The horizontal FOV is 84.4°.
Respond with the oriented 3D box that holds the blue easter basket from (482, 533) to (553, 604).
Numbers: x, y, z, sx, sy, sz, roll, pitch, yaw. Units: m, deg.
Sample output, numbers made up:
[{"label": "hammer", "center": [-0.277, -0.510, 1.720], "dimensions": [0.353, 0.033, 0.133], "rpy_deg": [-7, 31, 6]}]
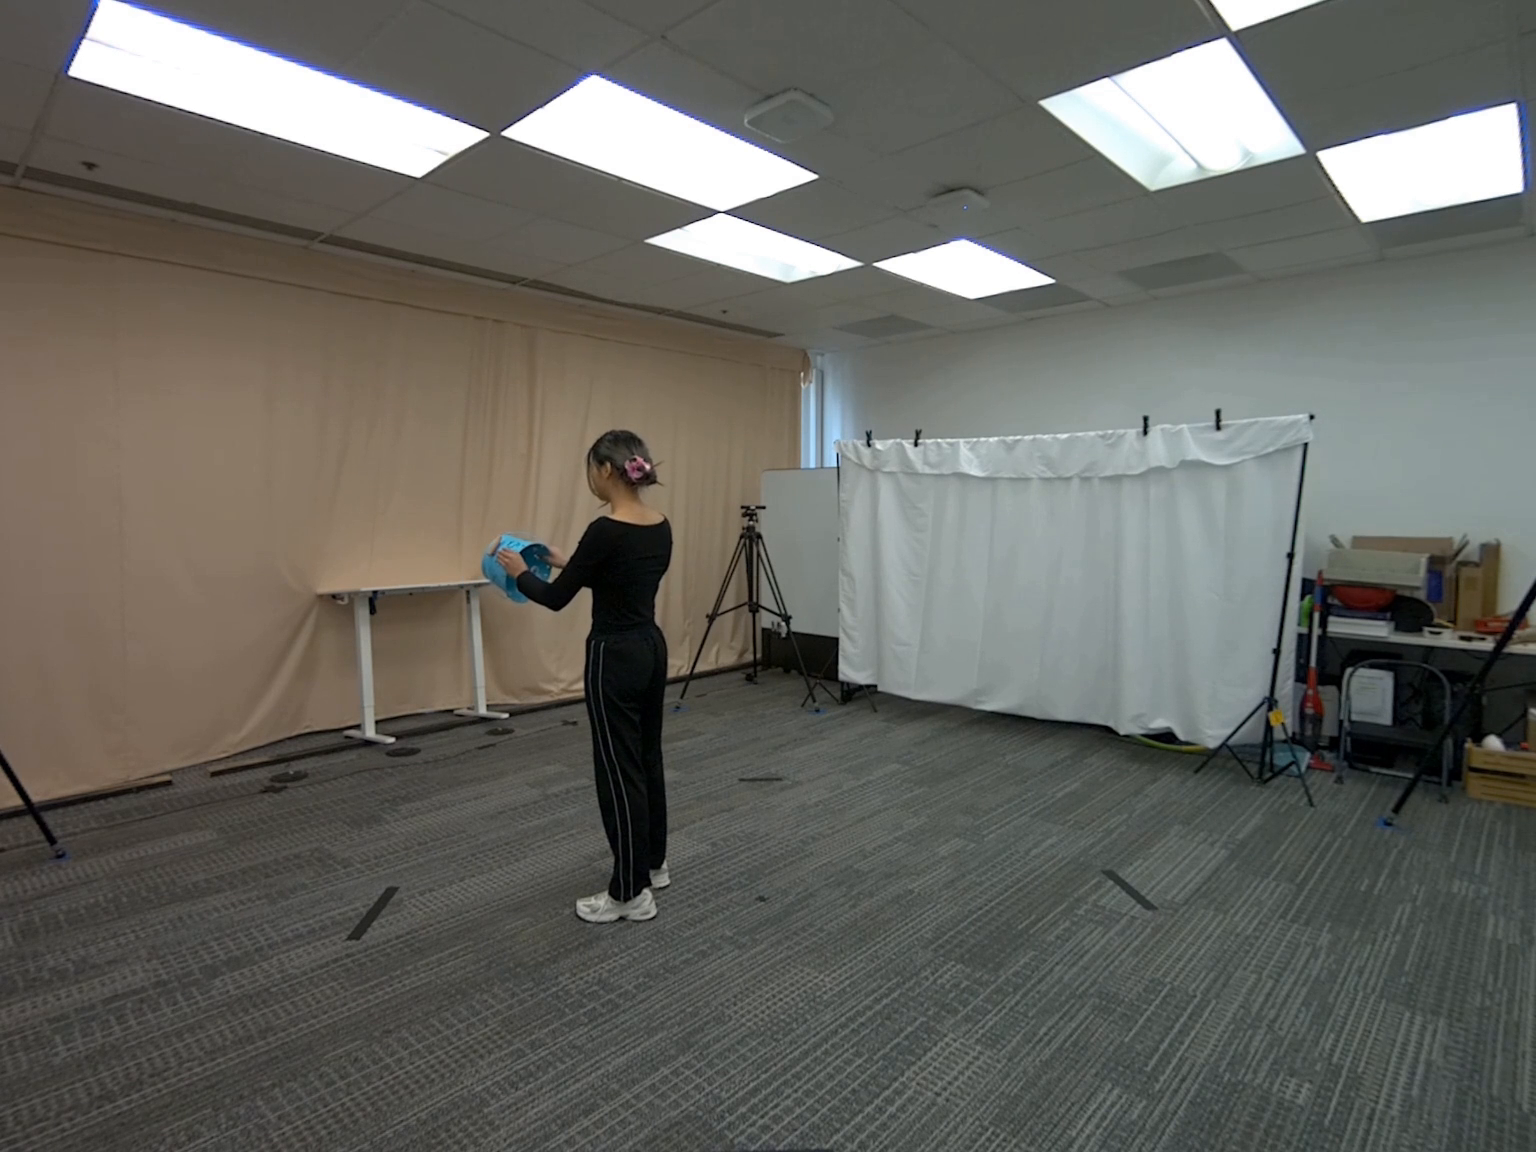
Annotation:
[{"label": "blue easter basket", "center": [-0.926, -0.033, 3.059], "dimensions": [0.160, 0.243, 0.237], "rpy_deg": [22, 13, 24]}]
